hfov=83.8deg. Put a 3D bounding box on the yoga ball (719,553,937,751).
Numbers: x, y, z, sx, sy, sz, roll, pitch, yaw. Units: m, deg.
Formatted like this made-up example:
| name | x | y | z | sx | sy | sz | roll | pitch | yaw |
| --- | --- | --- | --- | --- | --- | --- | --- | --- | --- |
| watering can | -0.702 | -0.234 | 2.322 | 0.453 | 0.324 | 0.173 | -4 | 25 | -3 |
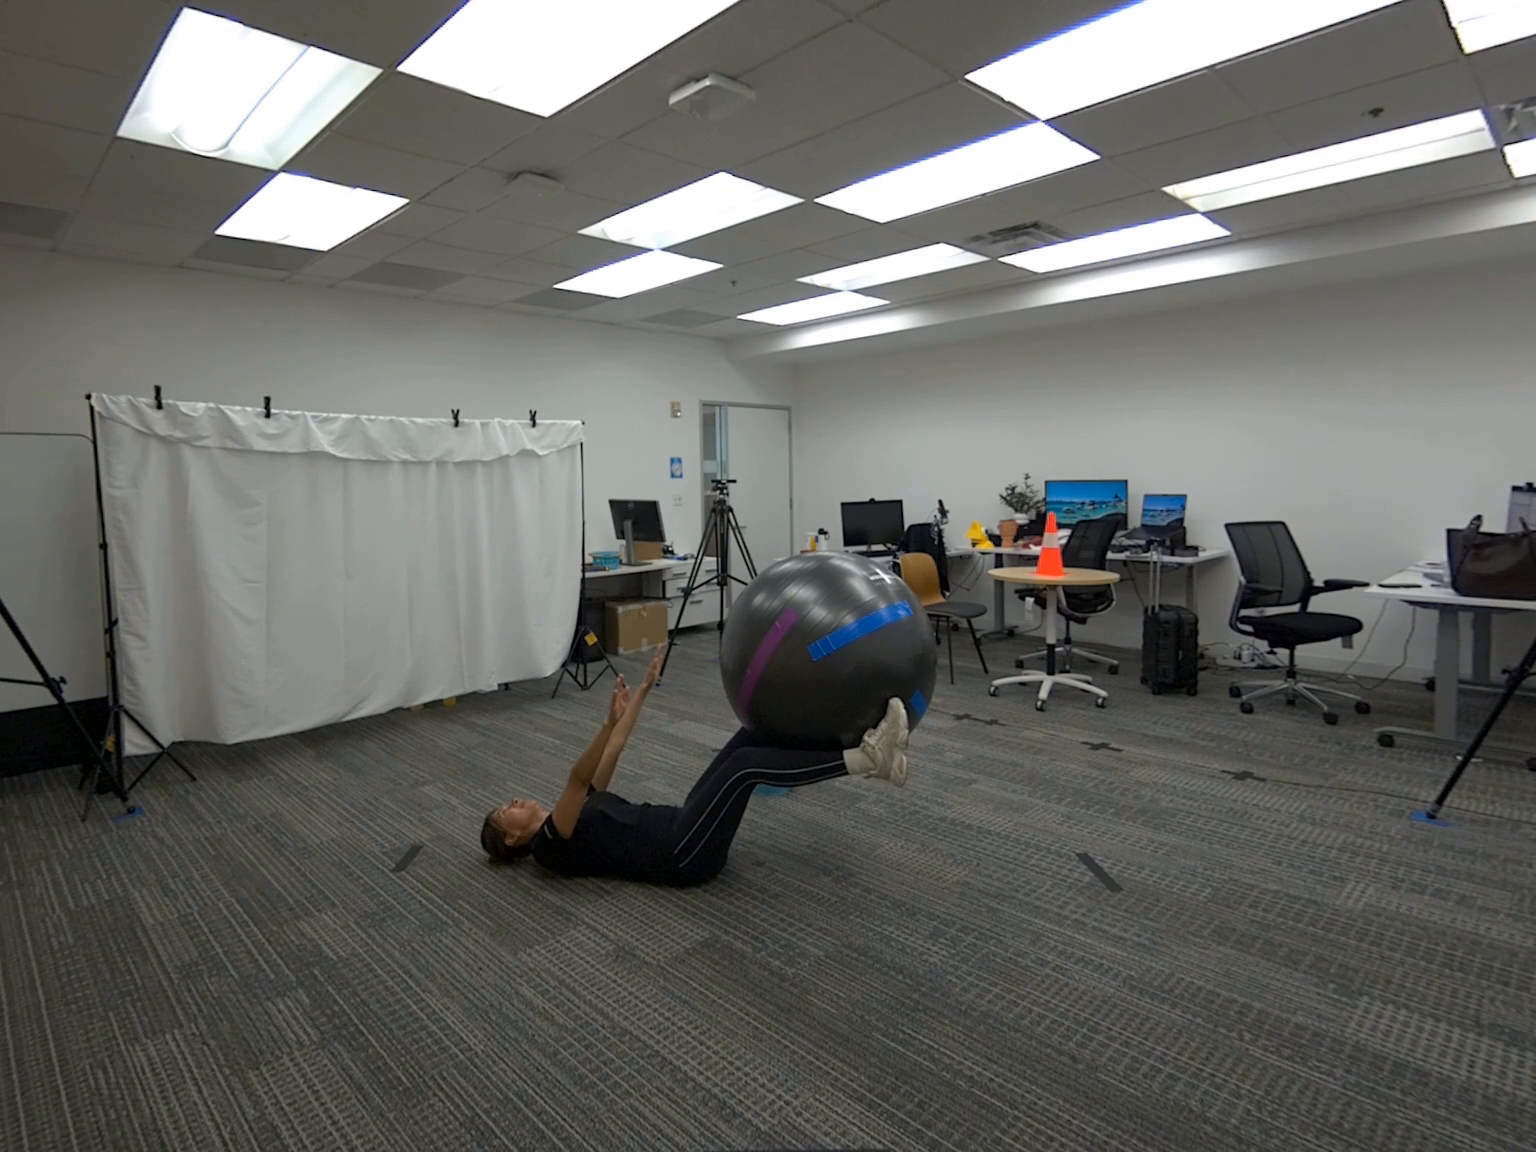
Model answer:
| name | x | y | z | sx | sy | sz | roll | pitch | yaw |
| --- | --- | --- | --- | --- | --- | --- | --- | --- | --- |
| yoga ball | 0.202 | 0.290 | 3.000 | 0.757 | 0.755 | 0.762 | -1 | 5 | -2 |
